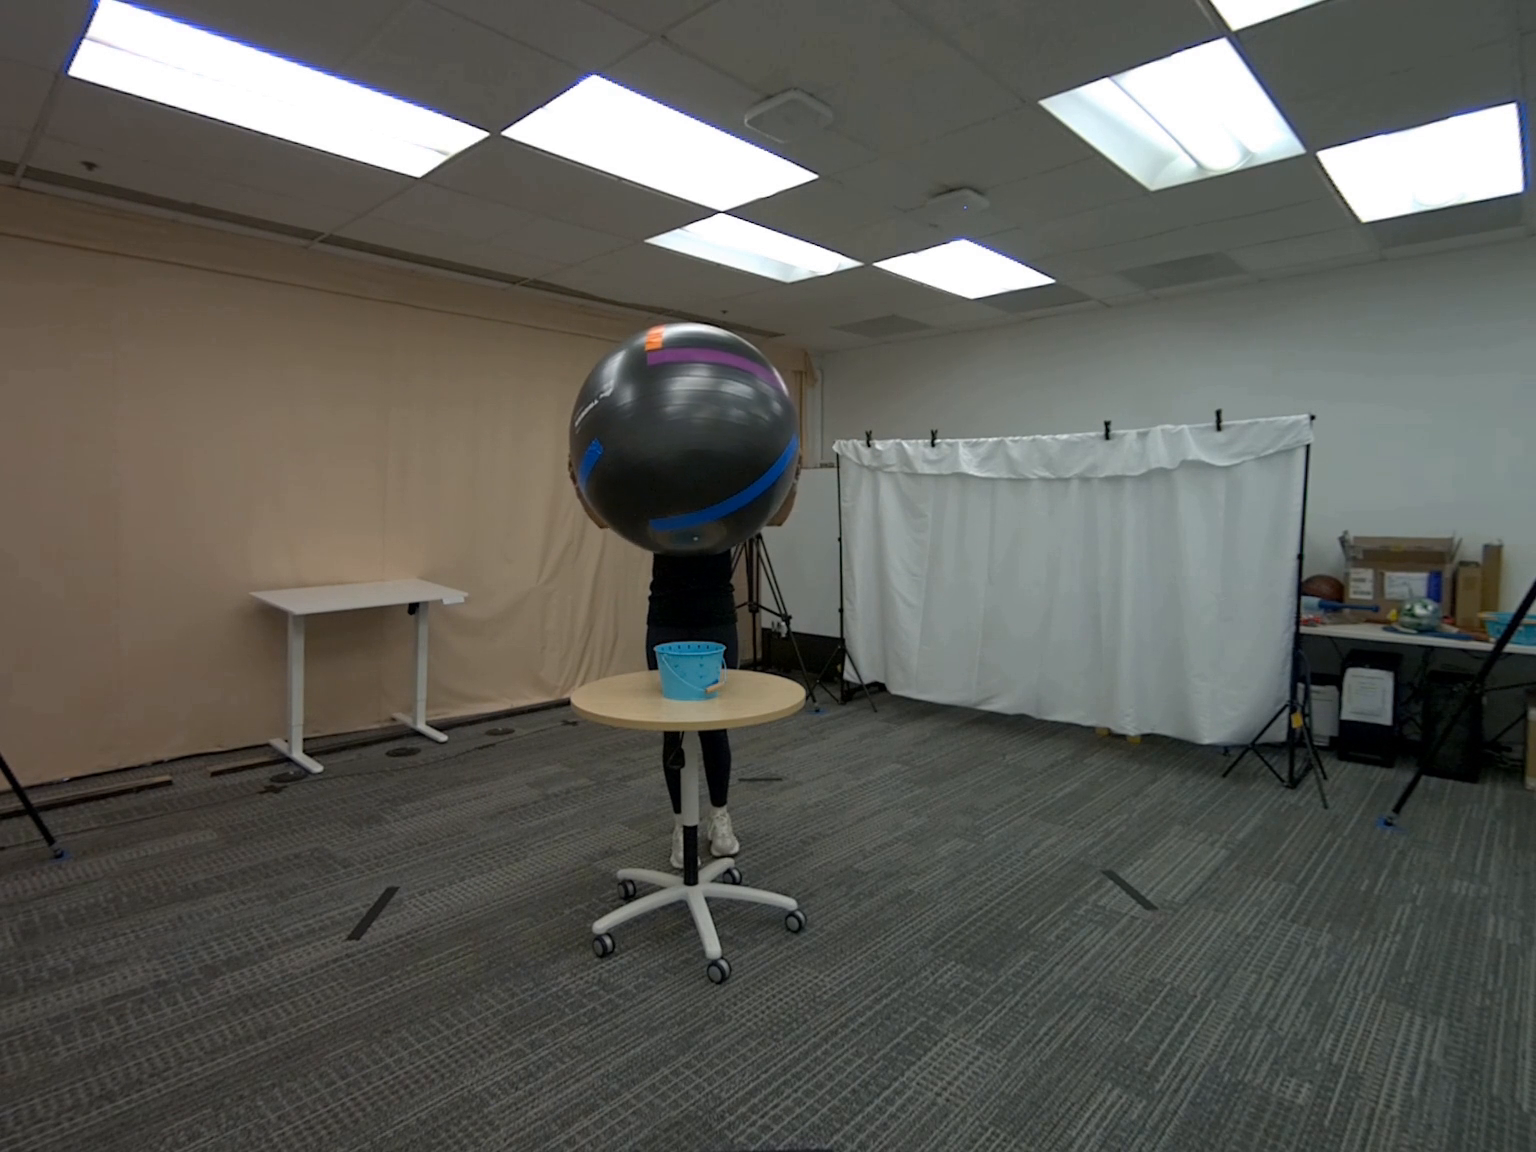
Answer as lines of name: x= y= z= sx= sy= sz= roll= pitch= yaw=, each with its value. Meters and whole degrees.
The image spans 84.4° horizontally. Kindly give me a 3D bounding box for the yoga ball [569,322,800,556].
yoga ball: x=-0.269 y=-0.438 z=2.759 sx=0.757 sy=0.756 sz=0.761 roll=0 pitch=4 yaw=-2
